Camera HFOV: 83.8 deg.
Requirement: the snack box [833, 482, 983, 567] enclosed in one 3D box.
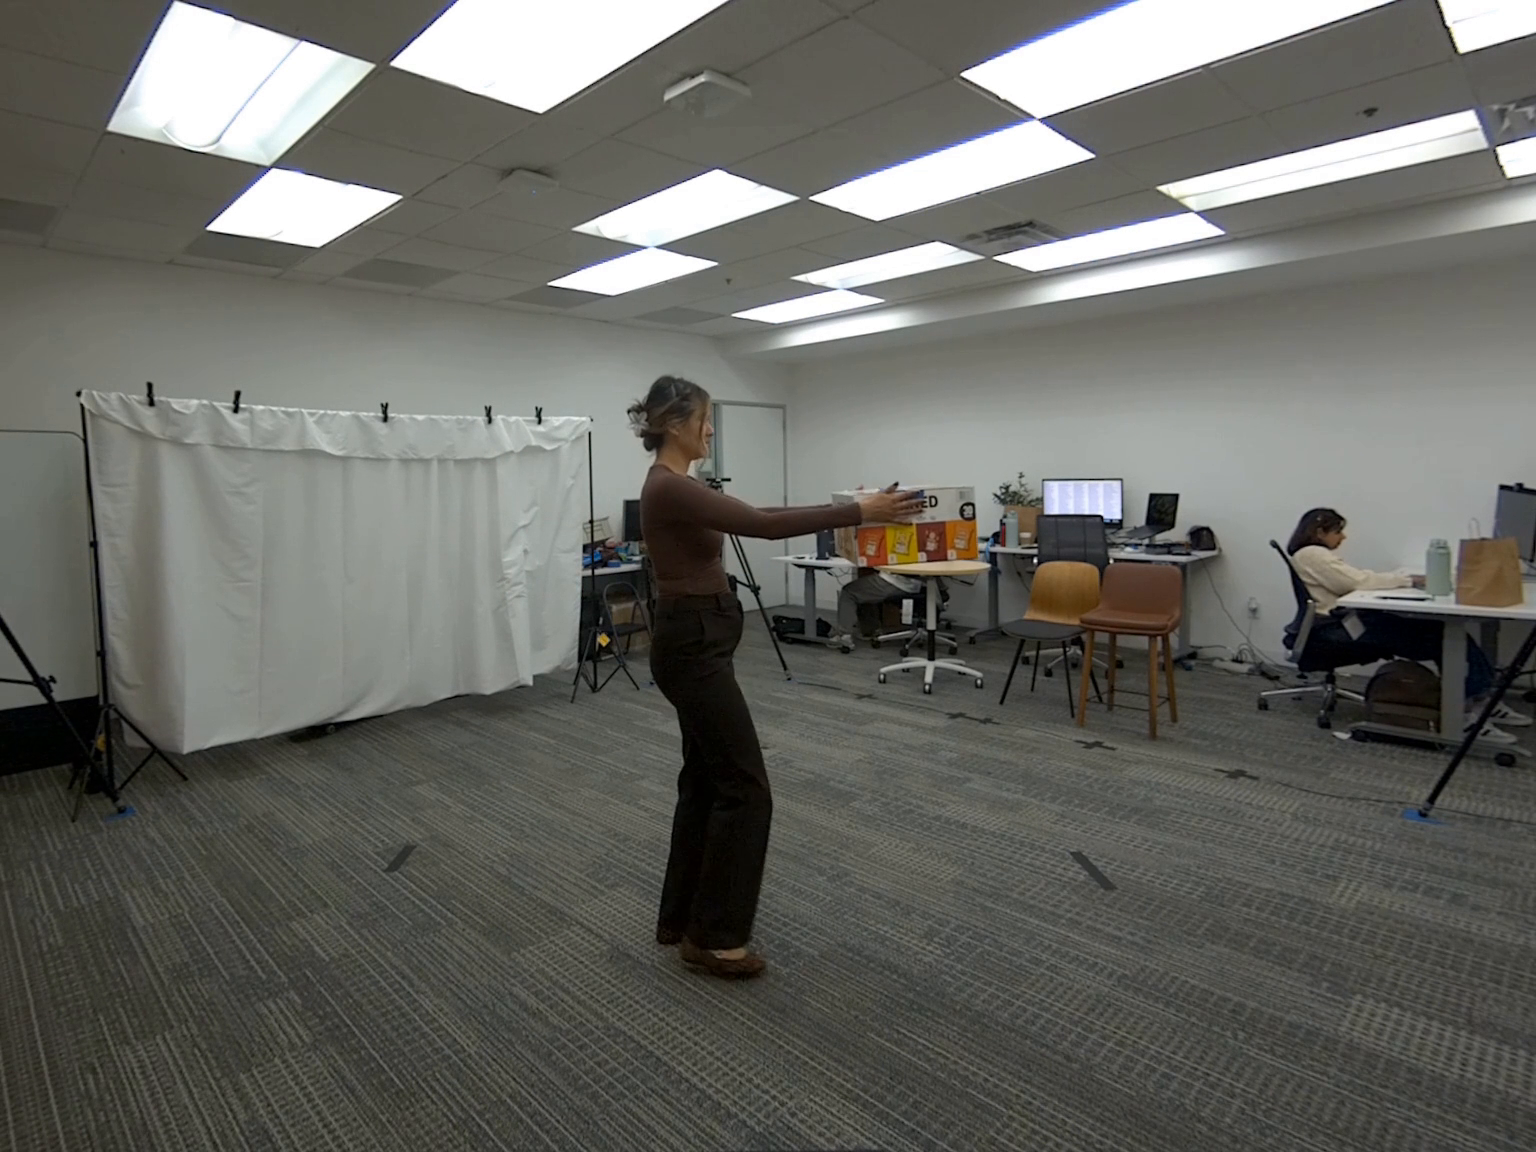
[{"bbox_3d":[0.400,-0.162,2.566,0.340,0.205,0.407,-4,5,-2],"label":"snack box"}]
